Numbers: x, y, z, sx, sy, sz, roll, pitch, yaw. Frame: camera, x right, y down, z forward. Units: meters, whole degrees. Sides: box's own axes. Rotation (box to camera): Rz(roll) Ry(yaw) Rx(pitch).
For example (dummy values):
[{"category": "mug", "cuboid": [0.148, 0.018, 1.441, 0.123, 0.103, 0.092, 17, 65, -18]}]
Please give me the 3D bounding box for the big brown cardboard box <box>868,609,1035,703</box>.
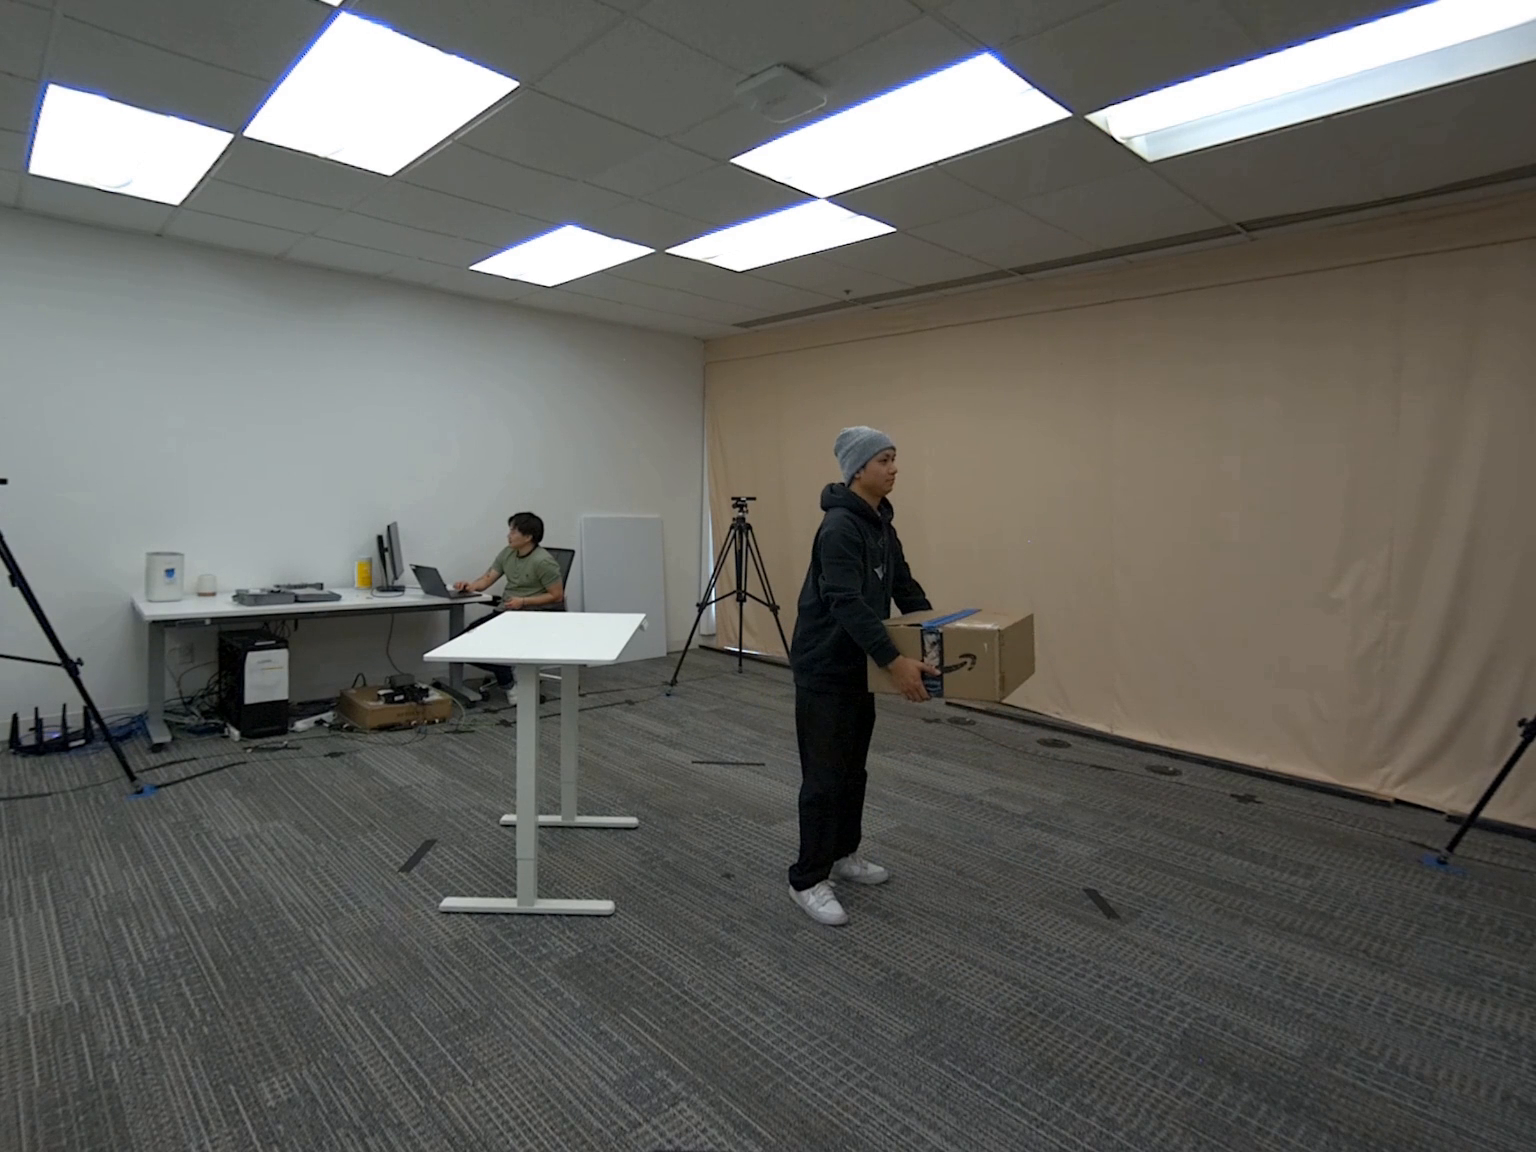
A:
[{"category": "big brown cardboard box", "cuboid": [0.613, 0.248, 2.806, 0.426, 0.233, 0.577, 0, 1, 28]}]
